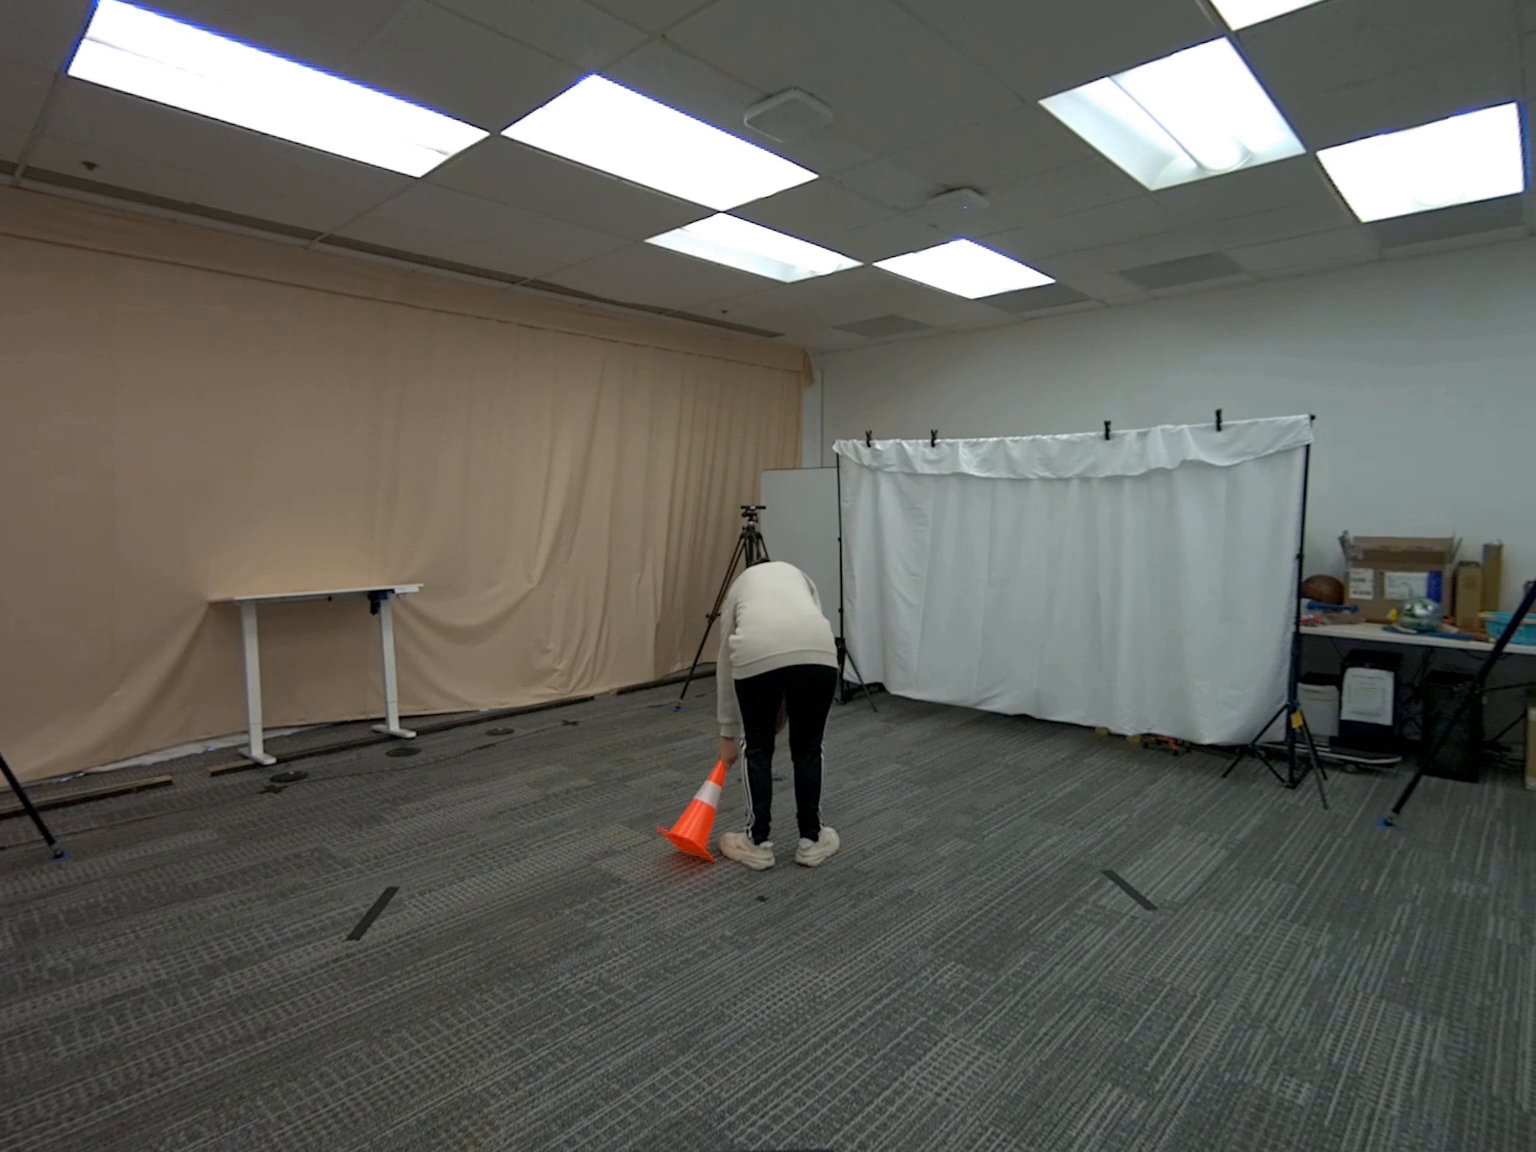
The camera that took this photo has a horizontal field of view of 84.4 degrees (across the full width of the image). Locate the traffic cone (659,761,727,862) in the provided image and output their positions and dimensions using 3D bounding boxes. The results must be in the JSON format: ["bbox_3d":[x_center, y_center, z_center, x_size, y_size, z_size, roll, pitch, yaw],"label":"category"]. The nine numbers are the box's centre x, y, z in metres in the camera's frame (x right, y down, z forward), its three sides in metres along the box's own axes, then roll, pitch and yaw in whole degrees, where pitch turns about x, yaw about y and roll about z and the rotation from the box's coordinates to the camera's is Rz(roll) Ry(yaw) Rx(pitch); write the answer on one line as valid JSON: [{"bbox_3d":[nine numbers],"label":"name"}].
[{"bbox_3d":[-0.249,0.906,3.381,0.211,0.384,0.197,3,-38,37],"label":"traffic cone"}]
